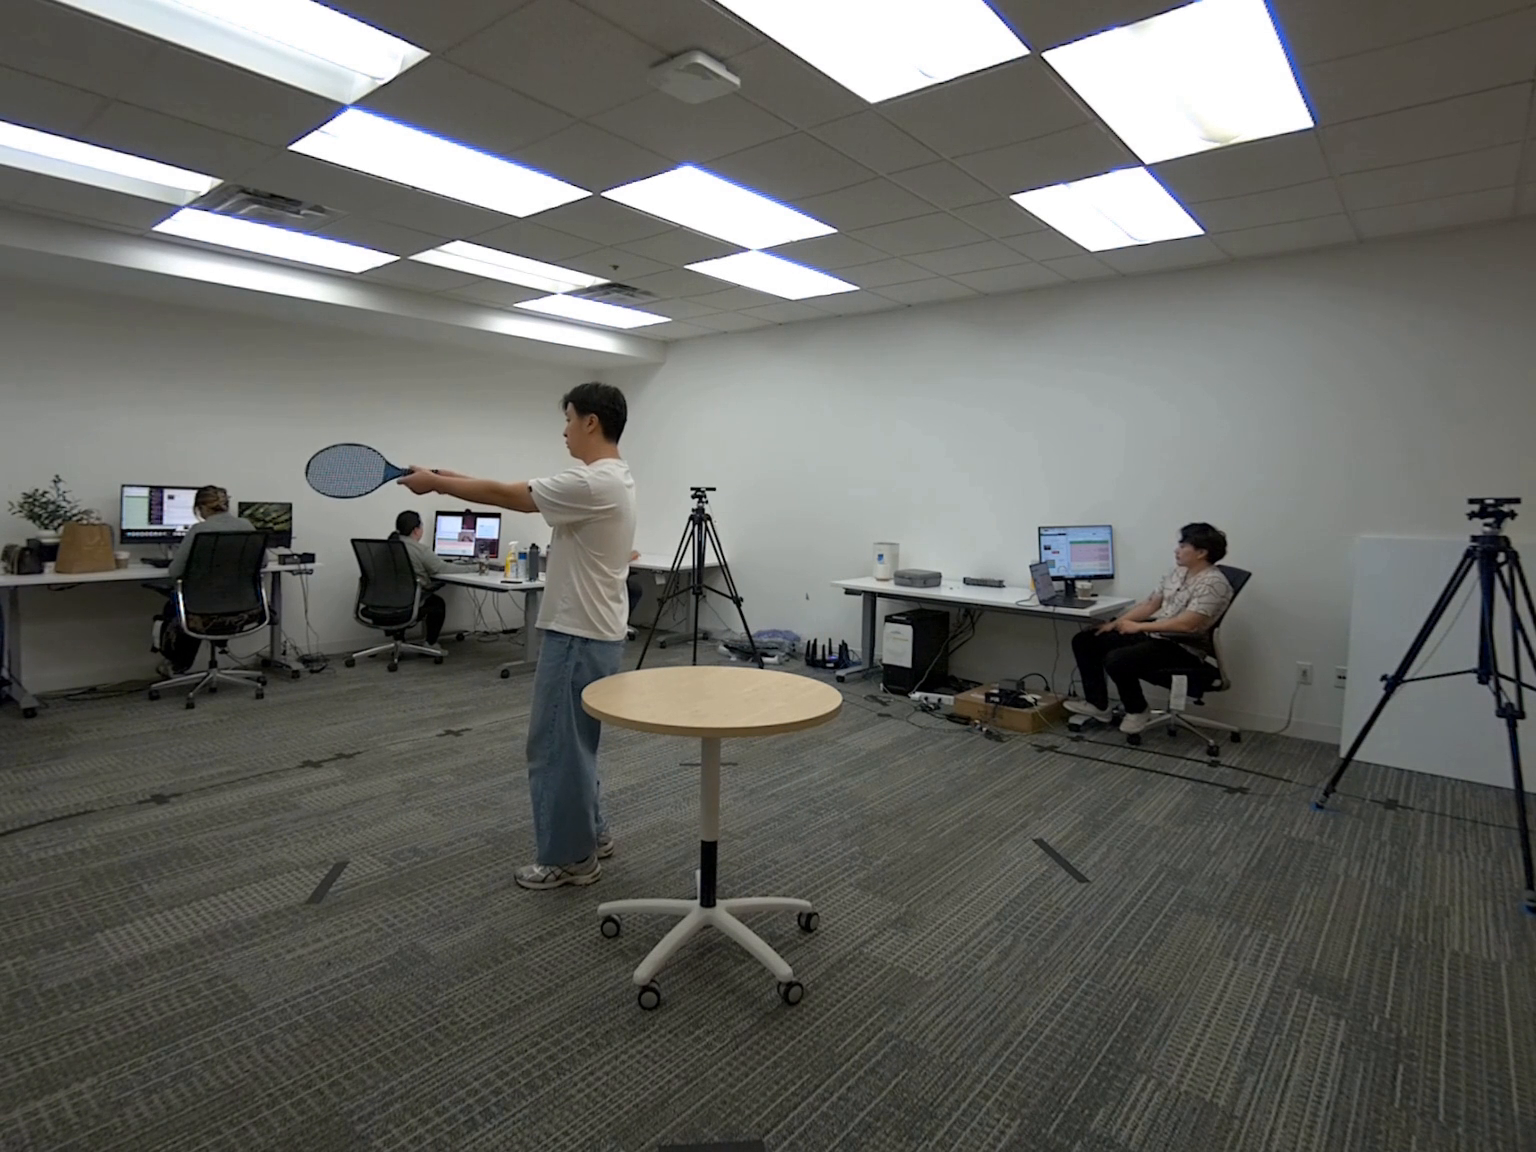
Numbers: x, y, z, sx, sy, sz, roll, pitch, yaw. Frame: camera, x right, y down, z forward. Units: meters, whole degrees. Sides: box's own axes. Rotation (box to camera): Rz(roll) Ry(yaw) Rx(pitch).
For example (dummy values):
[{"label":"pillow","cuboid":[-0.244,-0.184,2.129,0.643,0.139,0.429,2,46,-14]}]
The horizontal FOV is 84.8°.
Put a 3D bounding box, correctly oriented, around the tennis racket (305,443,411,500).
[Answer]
[{"label":"tennis racket","cuboid":[-1.352,-0.364,2.889,0.431,0.218,0.031,2,-21,-4]}]
